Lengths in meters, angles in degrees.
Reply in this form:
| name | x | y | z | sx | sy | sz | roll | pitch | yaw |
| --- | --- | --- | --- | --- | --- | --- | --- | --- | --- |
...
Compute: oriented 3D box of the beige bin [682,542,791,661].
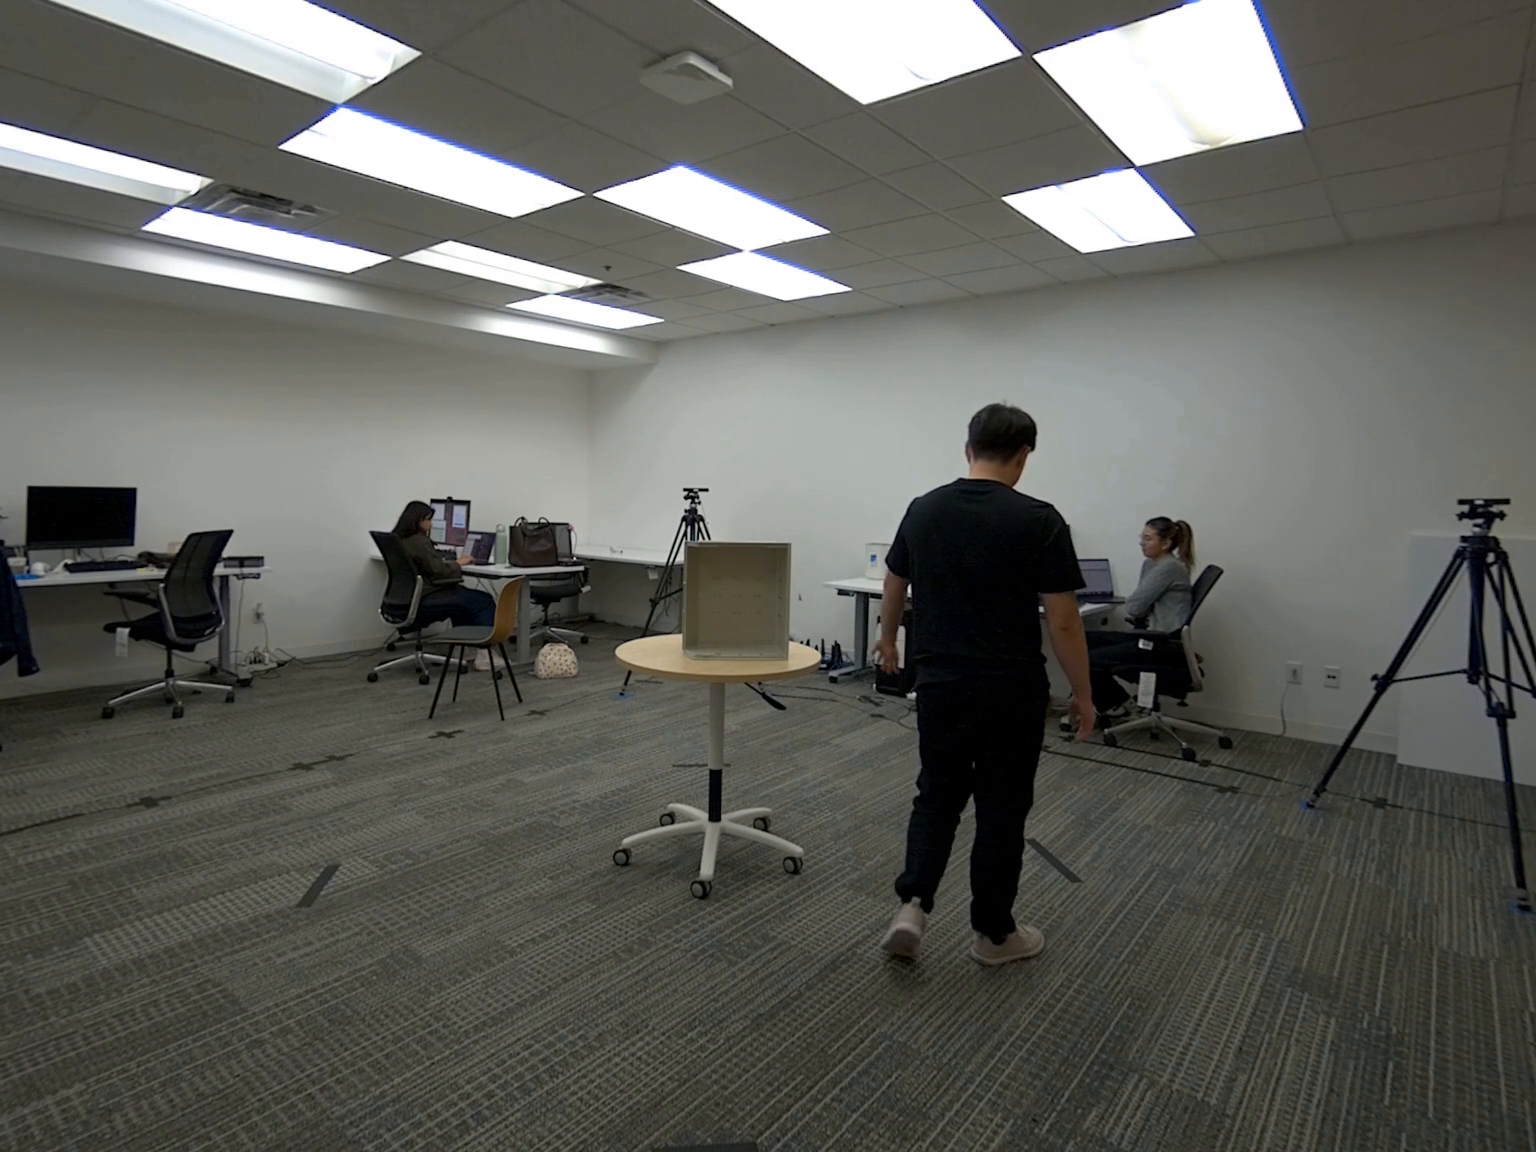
| name | x | y | z | sx | sy | sz | roll | pitch | yaw |
| --- | --- | --- | --- | --- | --- | --- | --- | --- | --- |
| beige bin | -0.131 | 0.079 | 3.107 | 0.376 | 0.421 | 0.190 | 1 | 2 | -3 |
